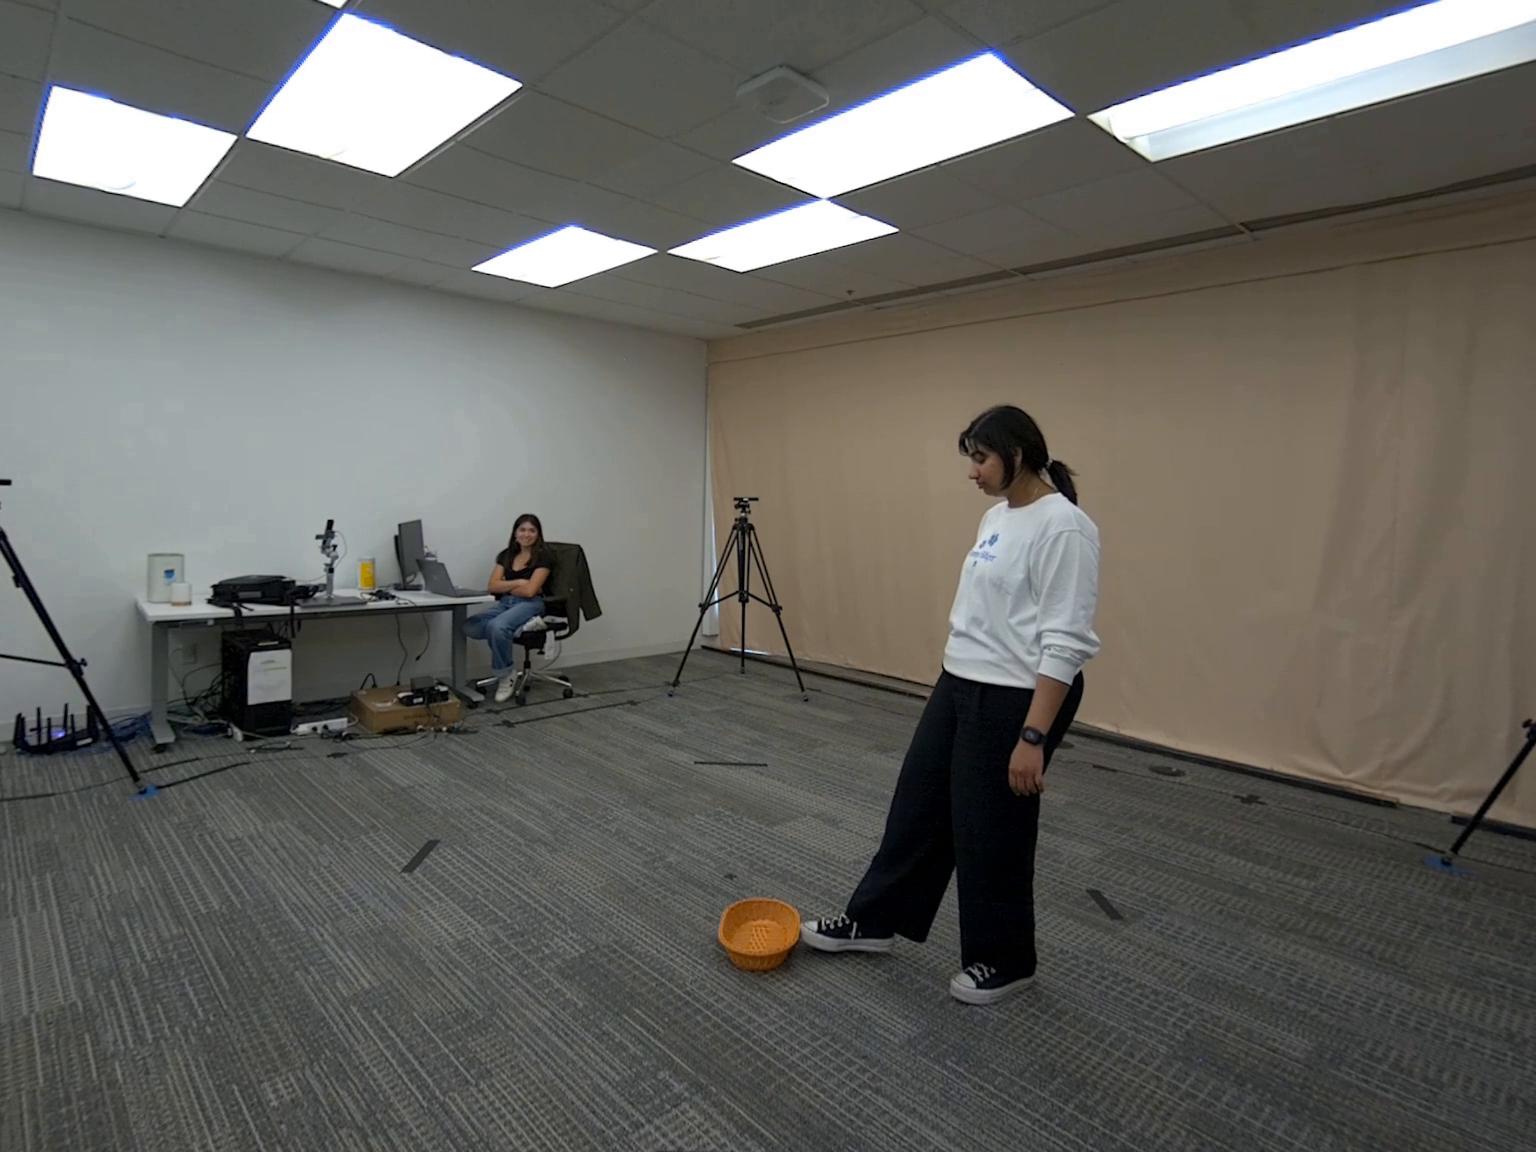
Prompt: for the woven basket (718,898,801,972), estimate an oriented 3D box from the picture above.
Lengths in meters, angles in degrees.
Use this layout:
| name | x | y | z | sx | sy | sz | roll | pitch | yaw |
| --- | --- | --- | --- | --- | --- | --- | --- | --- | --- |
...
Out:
| name | x | y | z | sx | sy | sz | roll | pitch | yaw |
| --- | --- | --- | --- | --- | --- | --- | --- | --- | --- |
| woven basket | -0.022 | 1.114 | 2.610 | 0.255 | 0.073 | 0.348 | 1 | 5 | 10 |
